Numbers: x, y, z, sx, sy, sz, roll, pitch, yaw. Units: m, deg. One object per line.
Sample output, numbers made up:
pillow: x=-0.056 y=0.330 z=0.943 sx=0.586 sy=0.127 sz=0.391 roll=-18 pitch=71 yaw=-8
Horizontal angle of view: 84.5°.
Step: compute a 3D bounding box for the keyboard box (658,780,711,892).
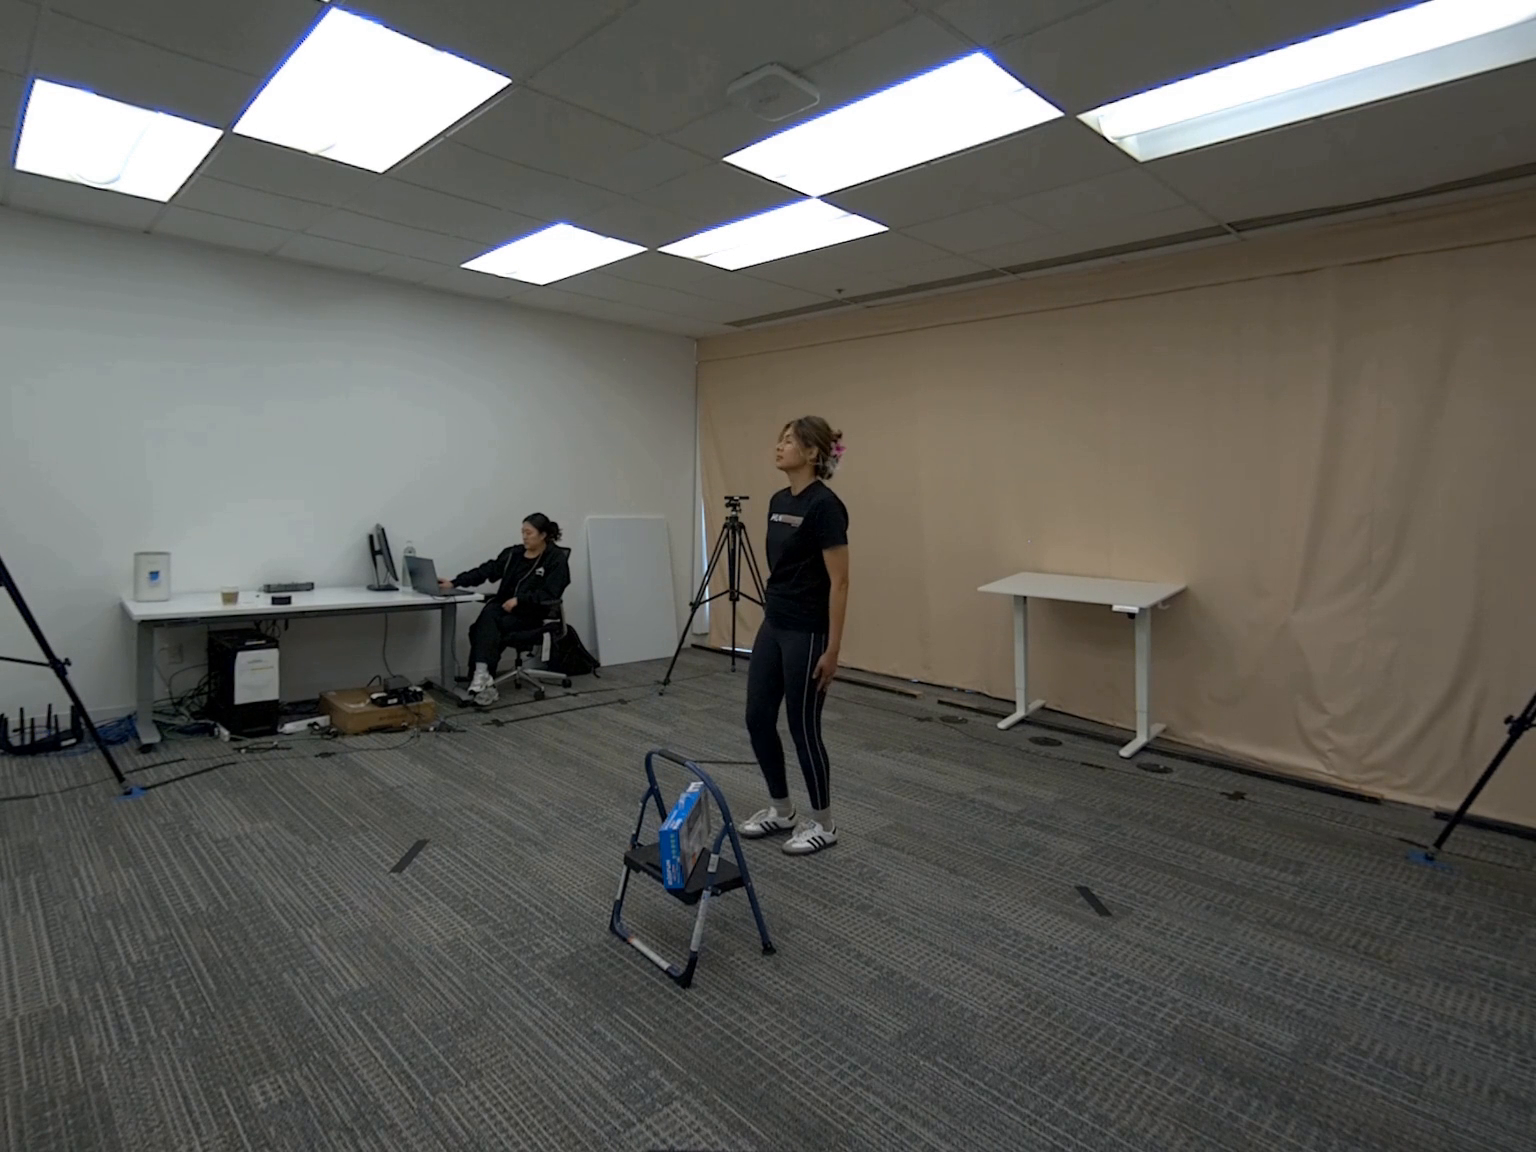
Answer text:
keyboard box: x=-0.257 y=0.799 z=2.610 sx=0.059 sy=0.175 sz=0.435 roll=-4 pitch=4 yaw=7
